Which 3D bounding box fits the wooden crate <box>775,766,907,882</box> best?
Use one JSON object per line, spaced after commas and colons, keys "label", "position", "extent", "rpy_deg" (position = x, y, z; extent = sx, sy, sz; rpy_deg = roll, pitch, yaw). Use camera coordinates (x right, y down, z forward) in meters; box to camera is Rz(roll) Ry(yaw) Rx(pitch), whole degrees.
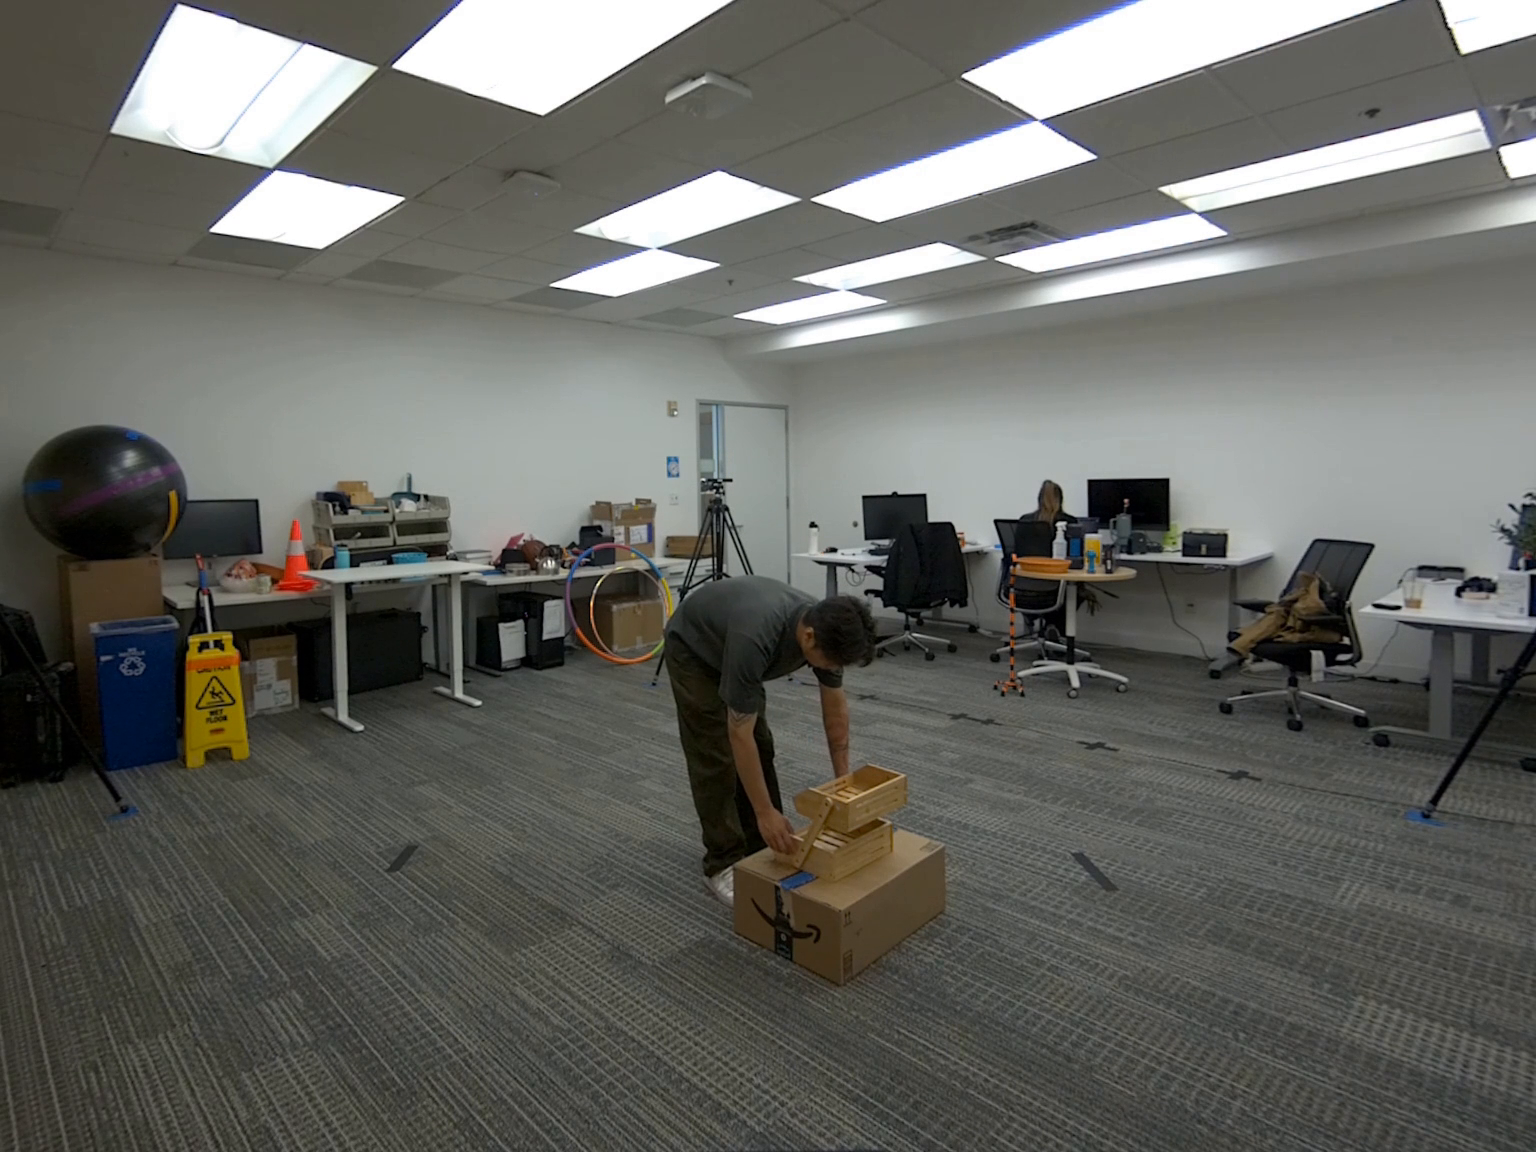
{"label": "wooden crate", "position": [0.231, 0.748, 2.661], "extent": [0.311, 0.272, 0.316], "rpy_deg": [5, 9, 44]}
